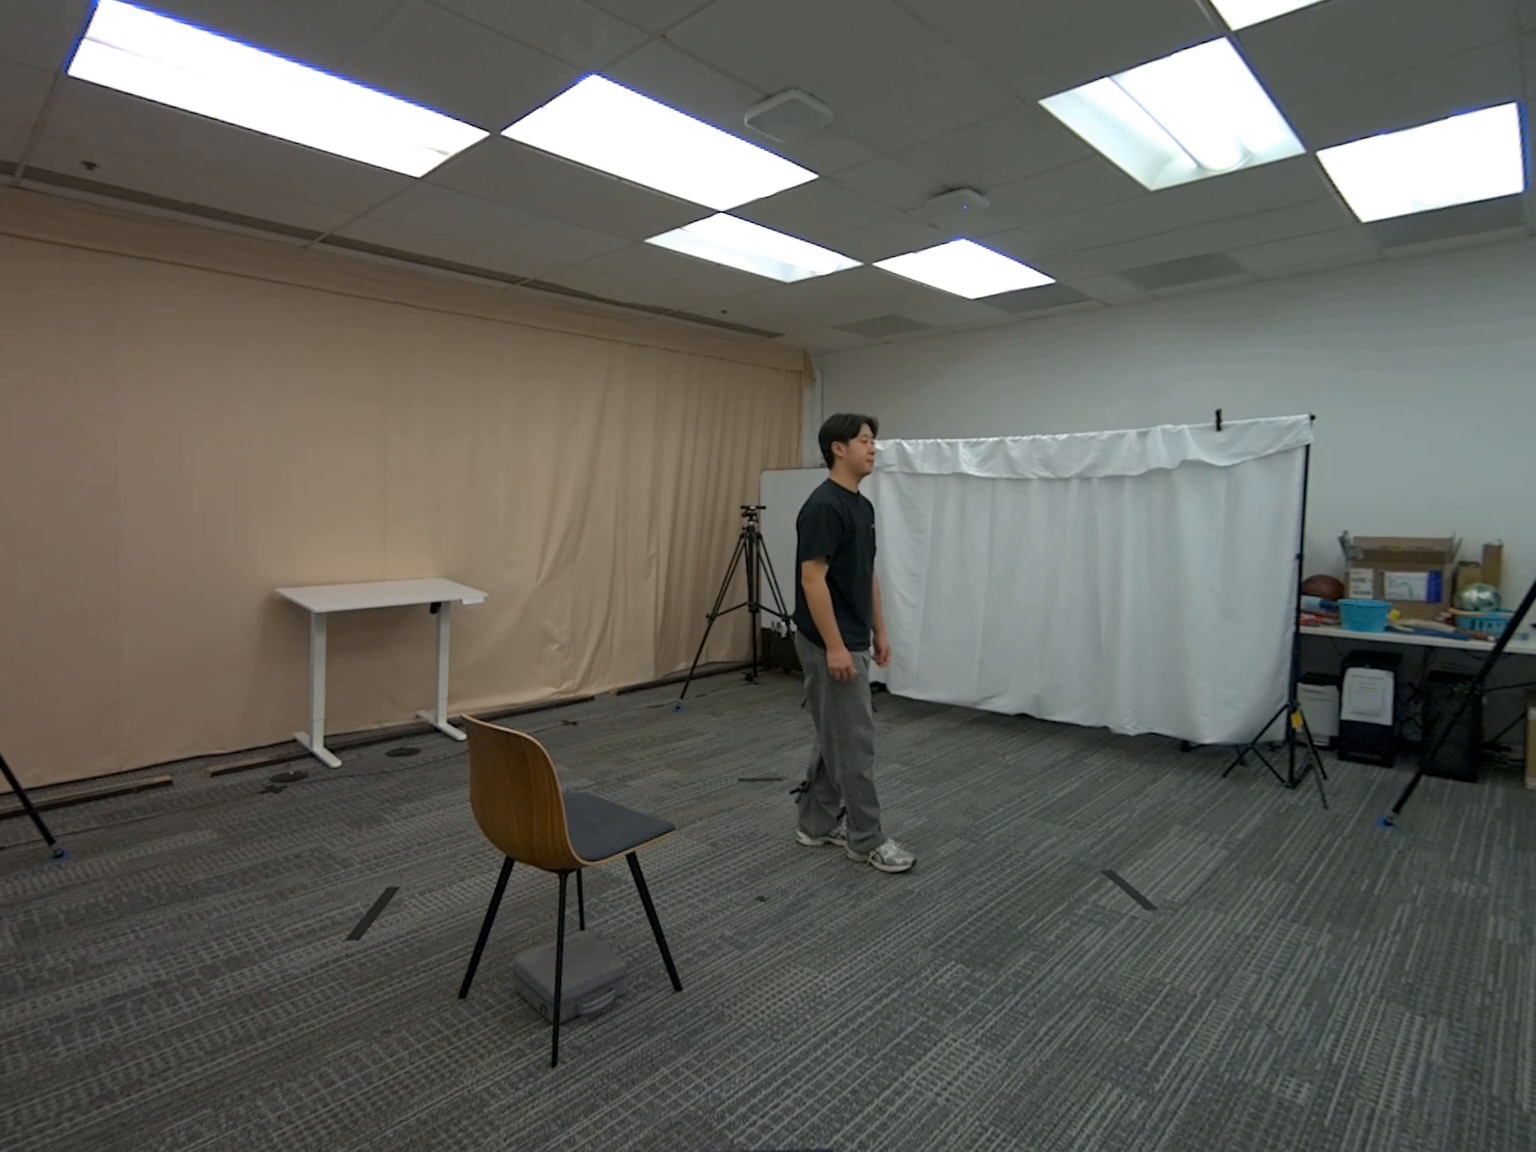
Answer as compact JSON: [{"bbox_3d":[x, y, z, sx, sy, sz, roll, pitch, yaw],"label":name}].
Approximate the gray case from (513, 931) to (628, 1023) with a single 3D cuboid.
[{"bbox_3d":[-0.553,1.144,2.394,0.255,0.103,0.297,-3,6,-42],"label":"gray case"}]
